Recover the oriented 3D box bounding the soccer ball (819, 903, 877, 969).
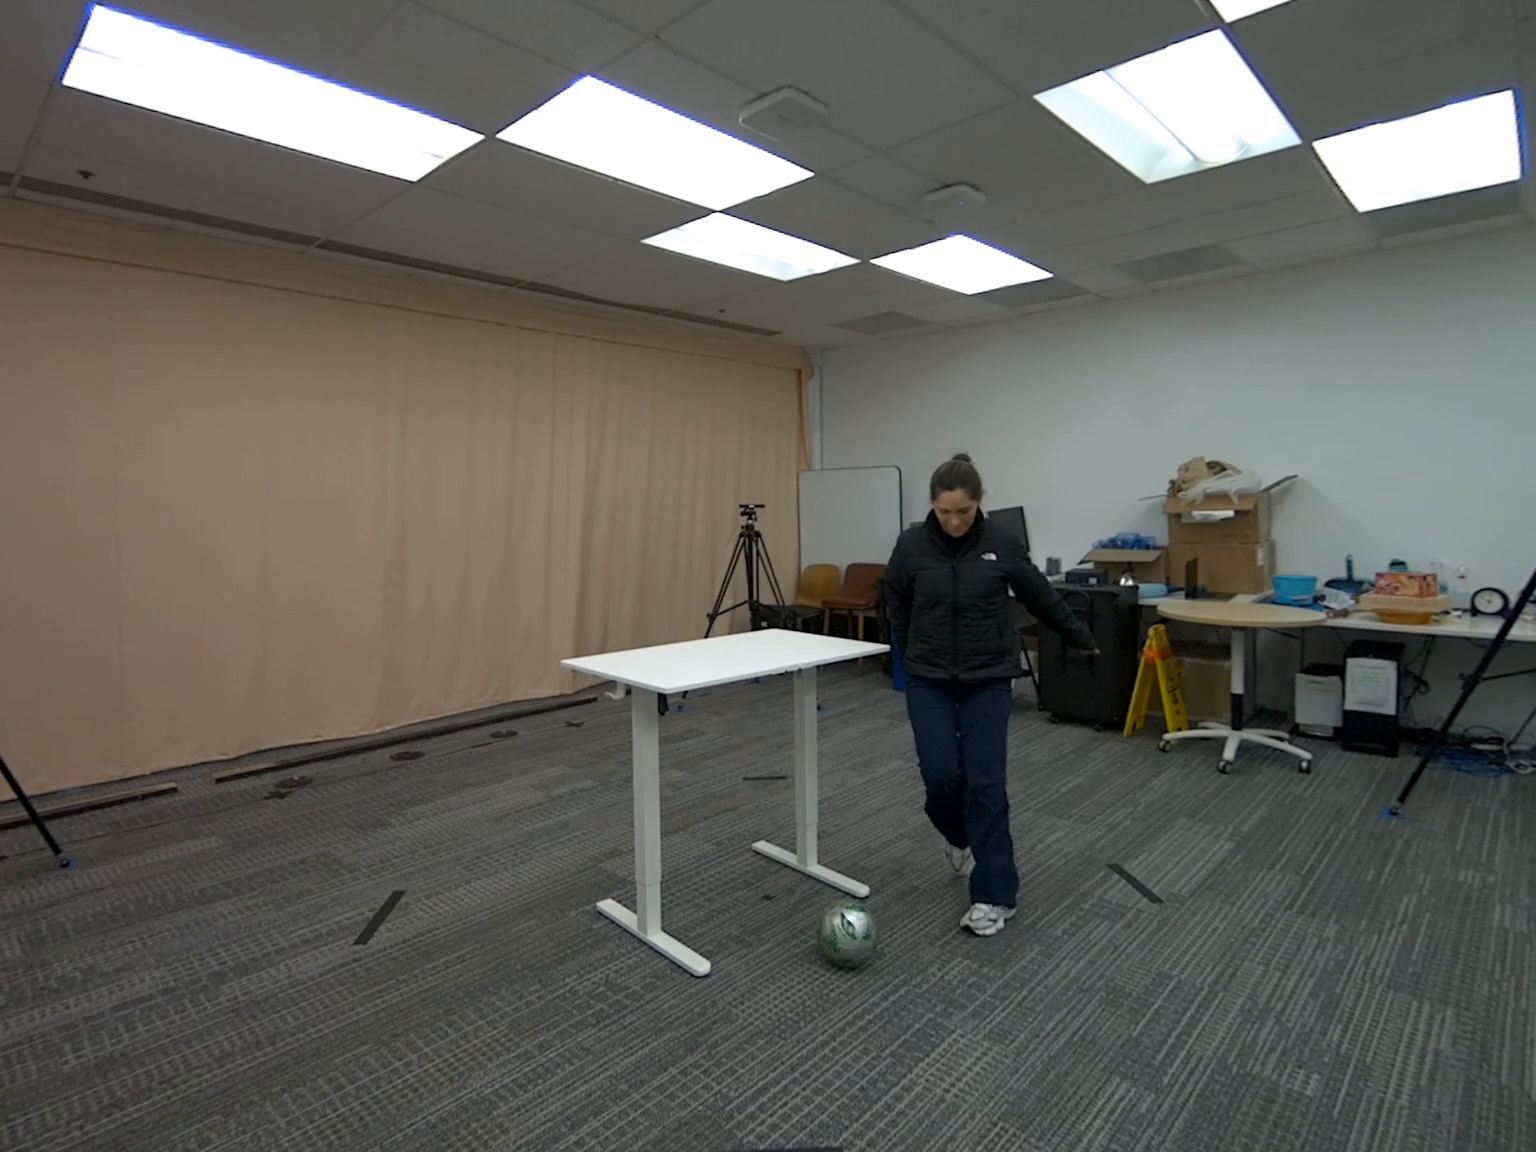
[{"bbox_3d":[0.243,1.076,2.544,0.187,0.187,0.188,-1,4,-2],"label":"soccer ball"}]
